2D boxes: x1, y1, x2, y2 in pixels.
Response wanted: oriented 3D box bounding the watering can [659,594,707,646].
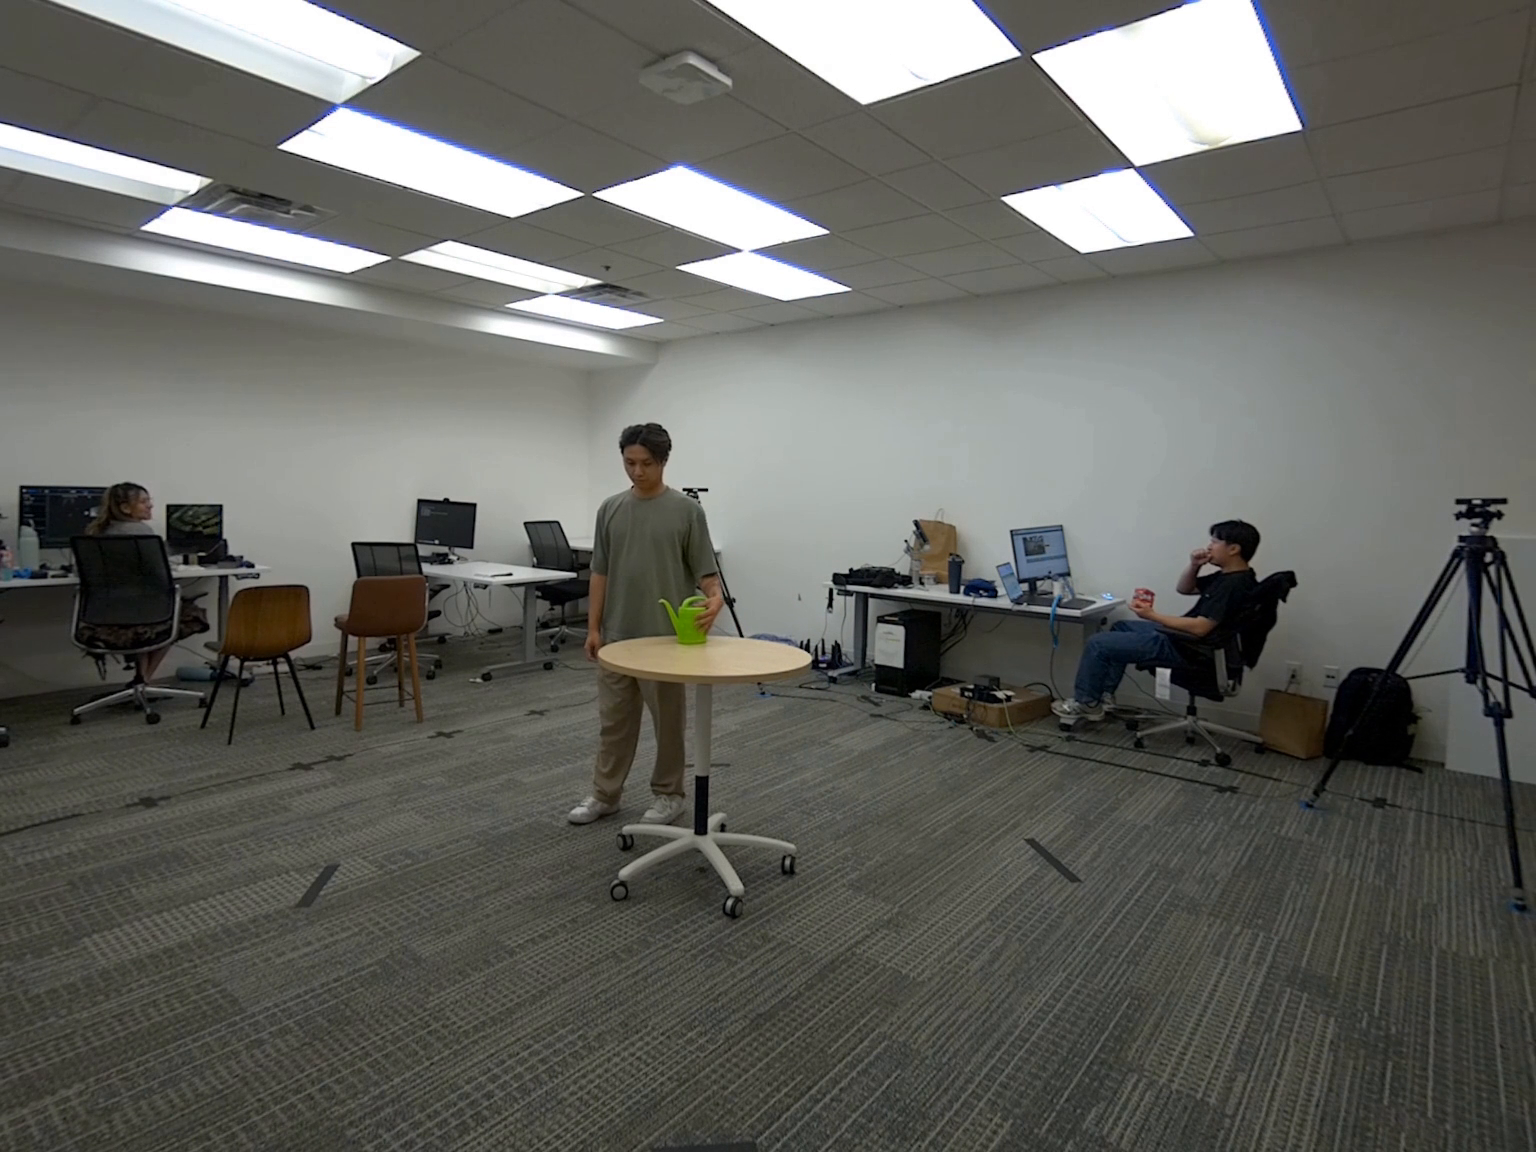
[{"bbox_3d":[-0.340,0.167,3.260,0.270,0.176,0.101,0,3,-35],"label":"watering can"}]
